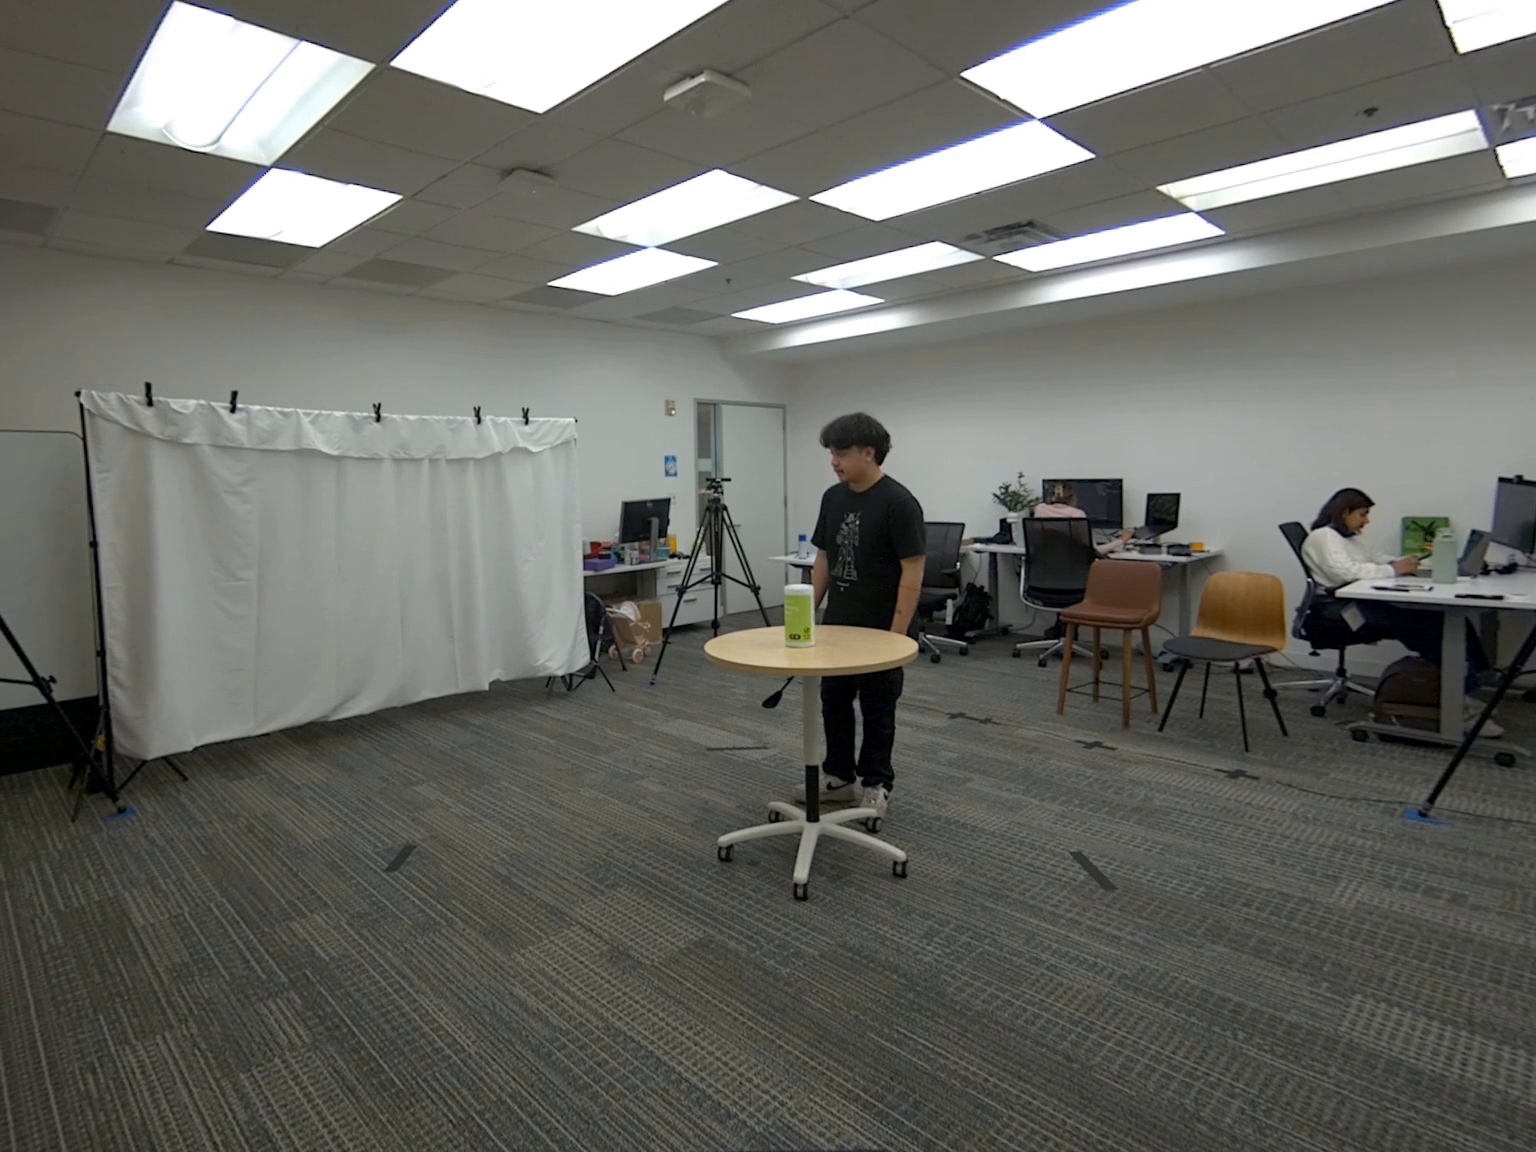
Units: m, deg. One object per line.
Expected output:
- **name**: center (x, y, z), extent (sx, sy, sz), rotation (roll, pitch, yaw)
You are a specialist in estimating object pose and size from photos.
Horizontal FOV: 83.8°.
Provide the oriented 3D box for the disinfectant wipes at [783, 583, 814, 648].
- **disinfectant wipes**: center (0.118, 0.144, 3.072), extent (0.118, 0.217, 0.118), rotation (-2, 4, -1)
